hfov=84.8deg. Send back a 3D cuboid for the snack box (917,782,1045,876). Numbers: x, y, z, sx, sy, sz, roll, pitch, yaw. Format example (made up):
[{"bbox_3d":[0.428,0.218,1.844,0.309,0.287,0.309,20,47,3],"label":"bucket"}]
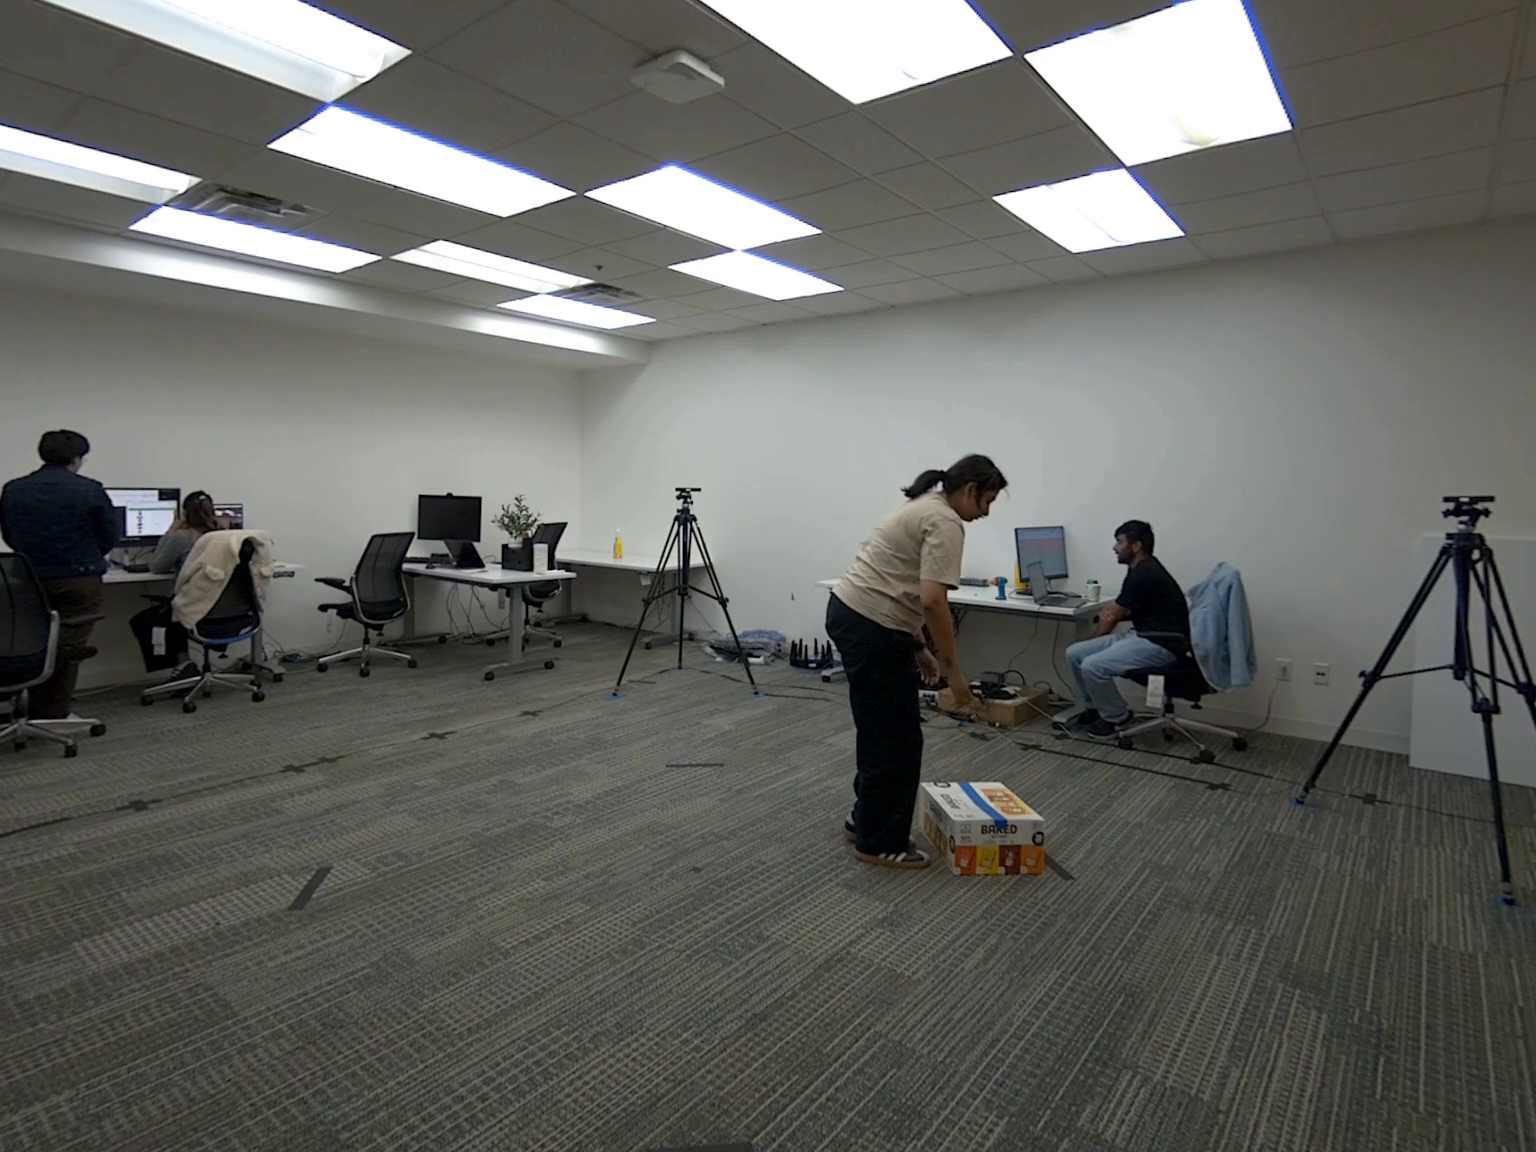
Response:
[{"bbox_3d":[0.814,0.974,3.309,0.338,0.205,0.409,1,6,-6],"label":"snack box"}]
